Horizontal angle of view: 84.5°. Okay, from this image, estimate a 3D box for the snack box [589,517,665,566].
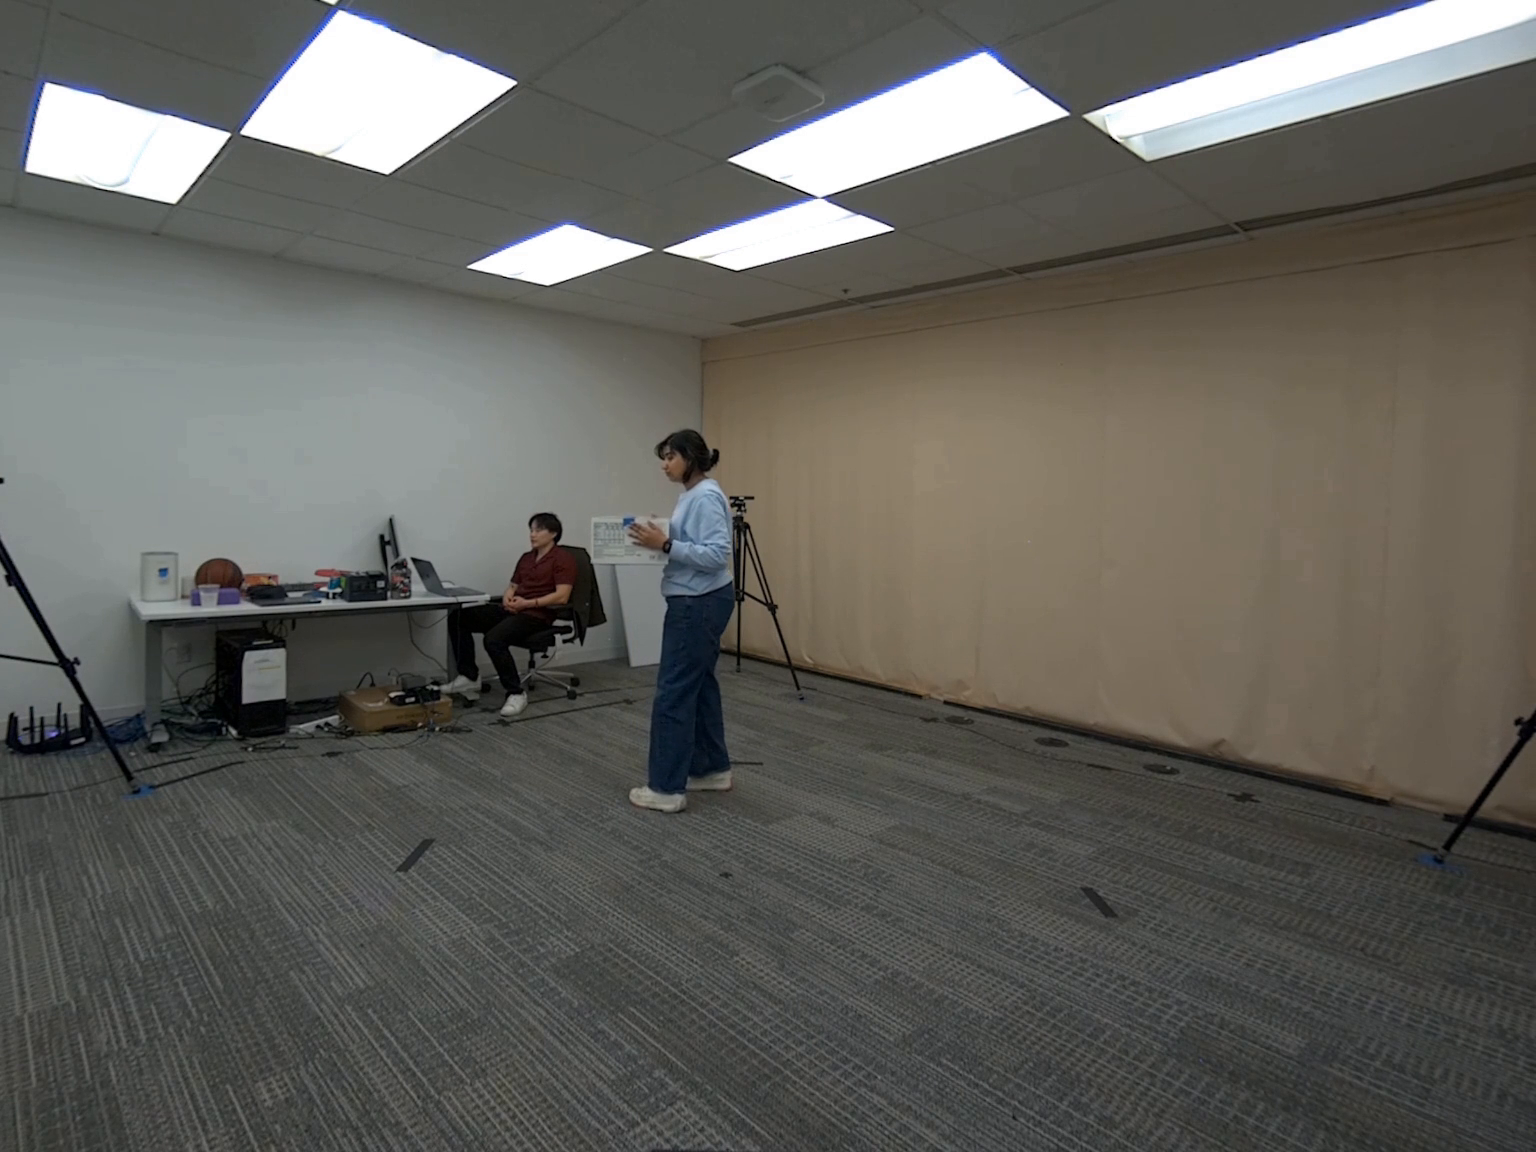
[{"bbox_3d":[-0.626,-0.162,3.862,0.339,0.205,0.408,1,4,-6],"label":"snack box"}]
